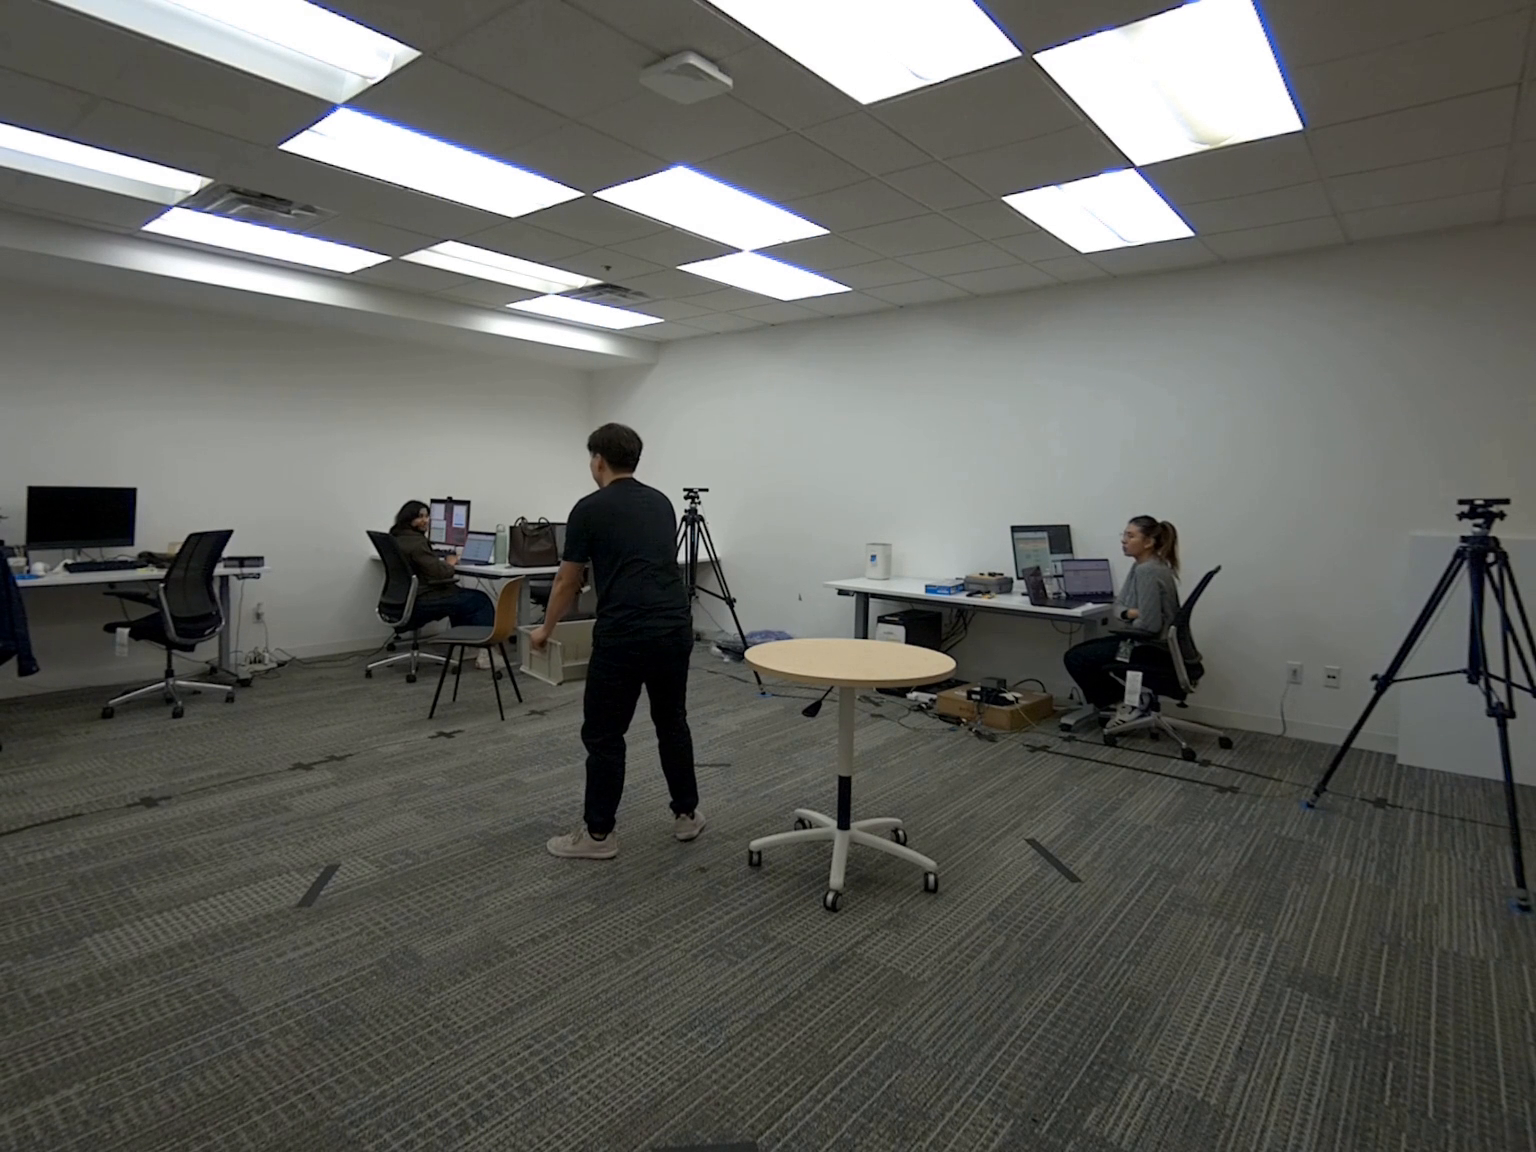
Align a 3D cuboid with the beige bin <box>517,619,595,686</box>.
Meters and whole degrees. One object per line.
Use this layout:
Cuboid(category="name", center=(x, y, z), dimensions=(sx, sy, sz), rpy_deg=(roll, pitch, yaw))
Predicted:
Cuboid(category="beige bin", center=(-0.780, 0.312, 3.542), dimensions=(0.410, 0.188, 0.390), rpy_deg=(-5, 8, -41))
